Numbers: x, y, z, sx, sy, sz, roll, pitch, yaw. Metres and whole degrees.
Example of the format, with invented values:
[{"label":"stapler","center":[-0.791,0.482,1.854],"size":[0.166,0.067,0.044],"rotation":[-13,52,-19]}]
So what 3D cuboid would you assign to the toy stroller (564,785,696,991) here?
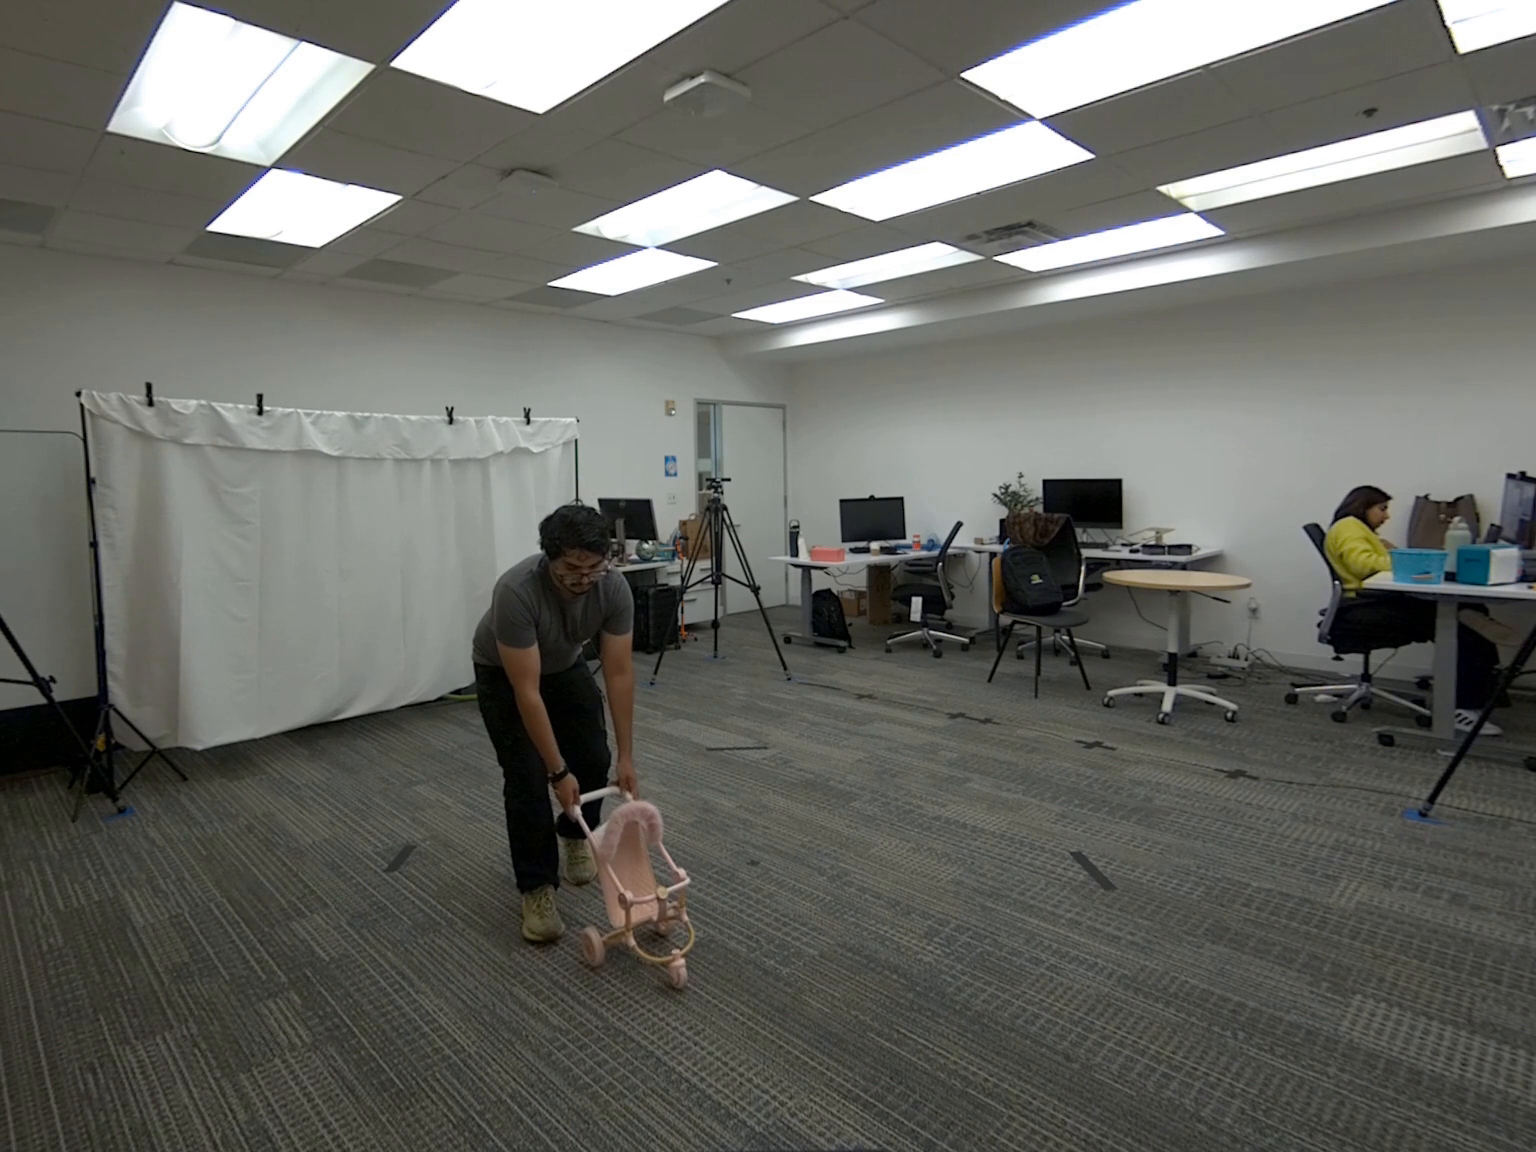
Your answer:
[{"label":"toy stroller","center":[-0.376,0.894,2.487],"size":[0.274,0.539,0.347],"rotation":[-6,-9,-37]}]
